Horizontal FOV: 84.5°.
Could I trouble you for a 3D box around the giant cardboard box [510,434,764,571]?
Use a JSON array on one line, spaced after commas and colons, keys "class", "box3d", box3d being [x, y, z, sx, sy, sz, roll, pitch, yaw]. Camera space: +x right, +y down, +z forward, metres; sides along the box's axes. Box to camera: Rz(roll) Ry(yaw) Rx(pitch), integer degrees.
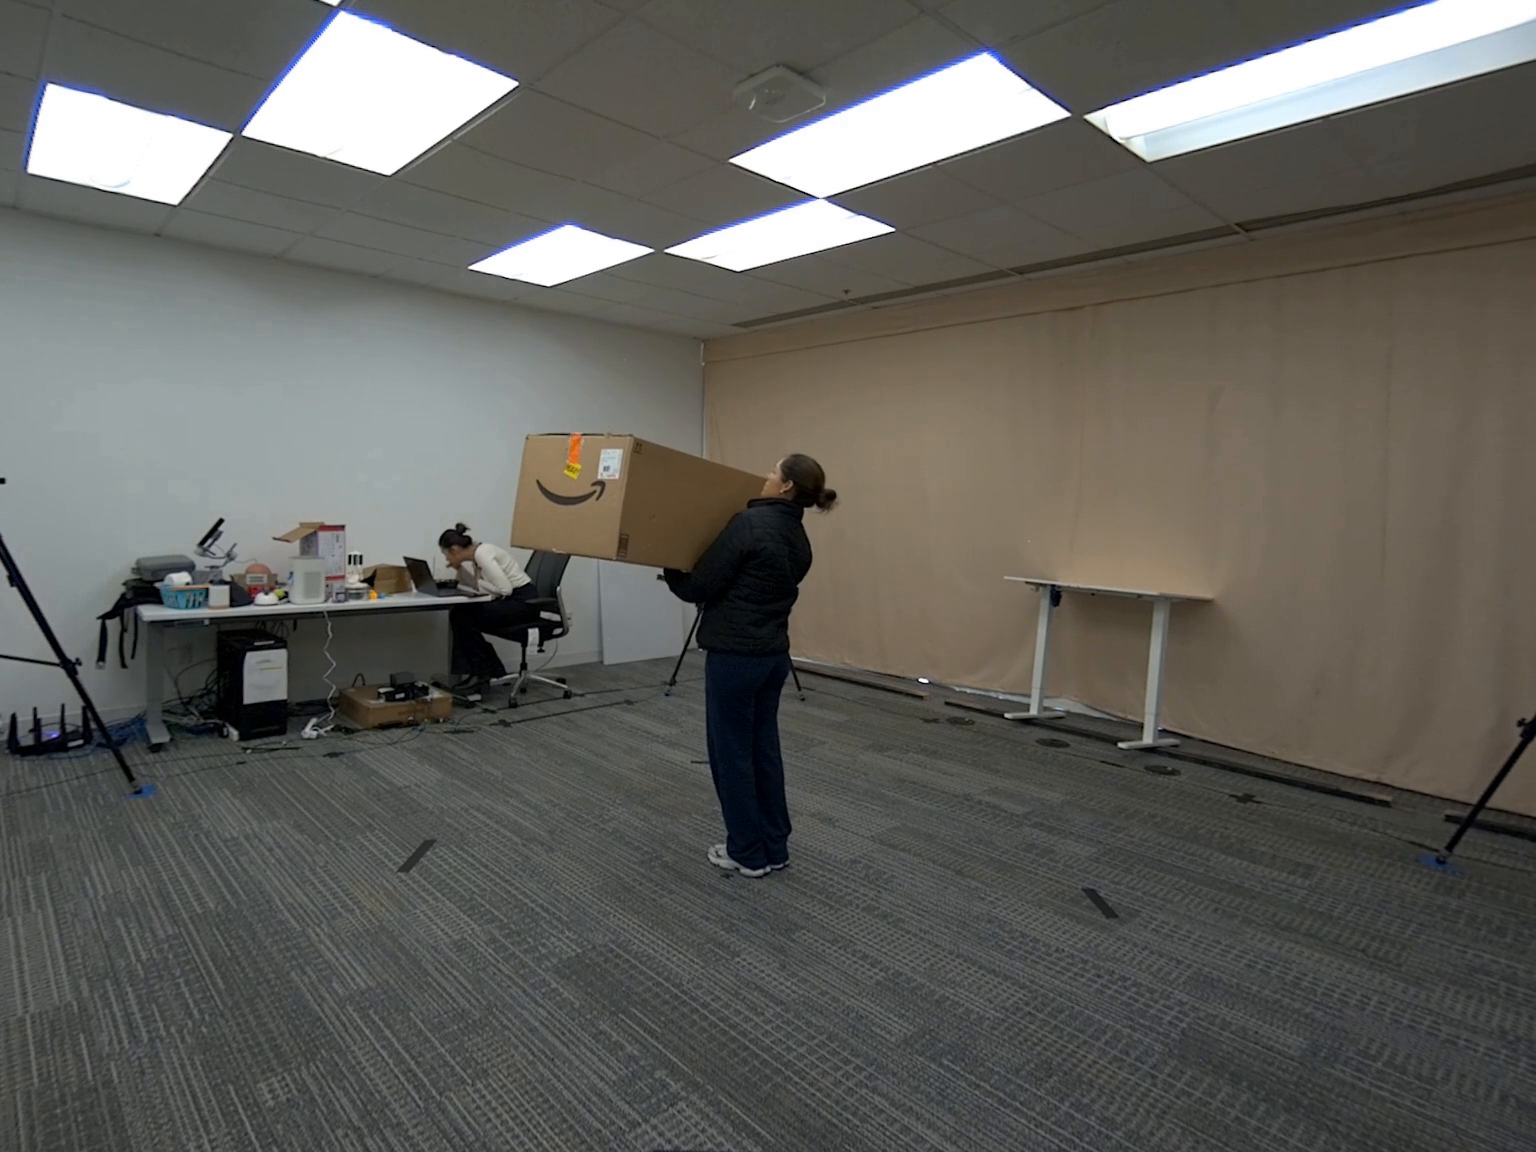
[{"class": "giant cardboard box", "box3d": [-0.414, -0.235, 3.338, 0.592, 0.427, 0.999, 7, -2, 36]}]
